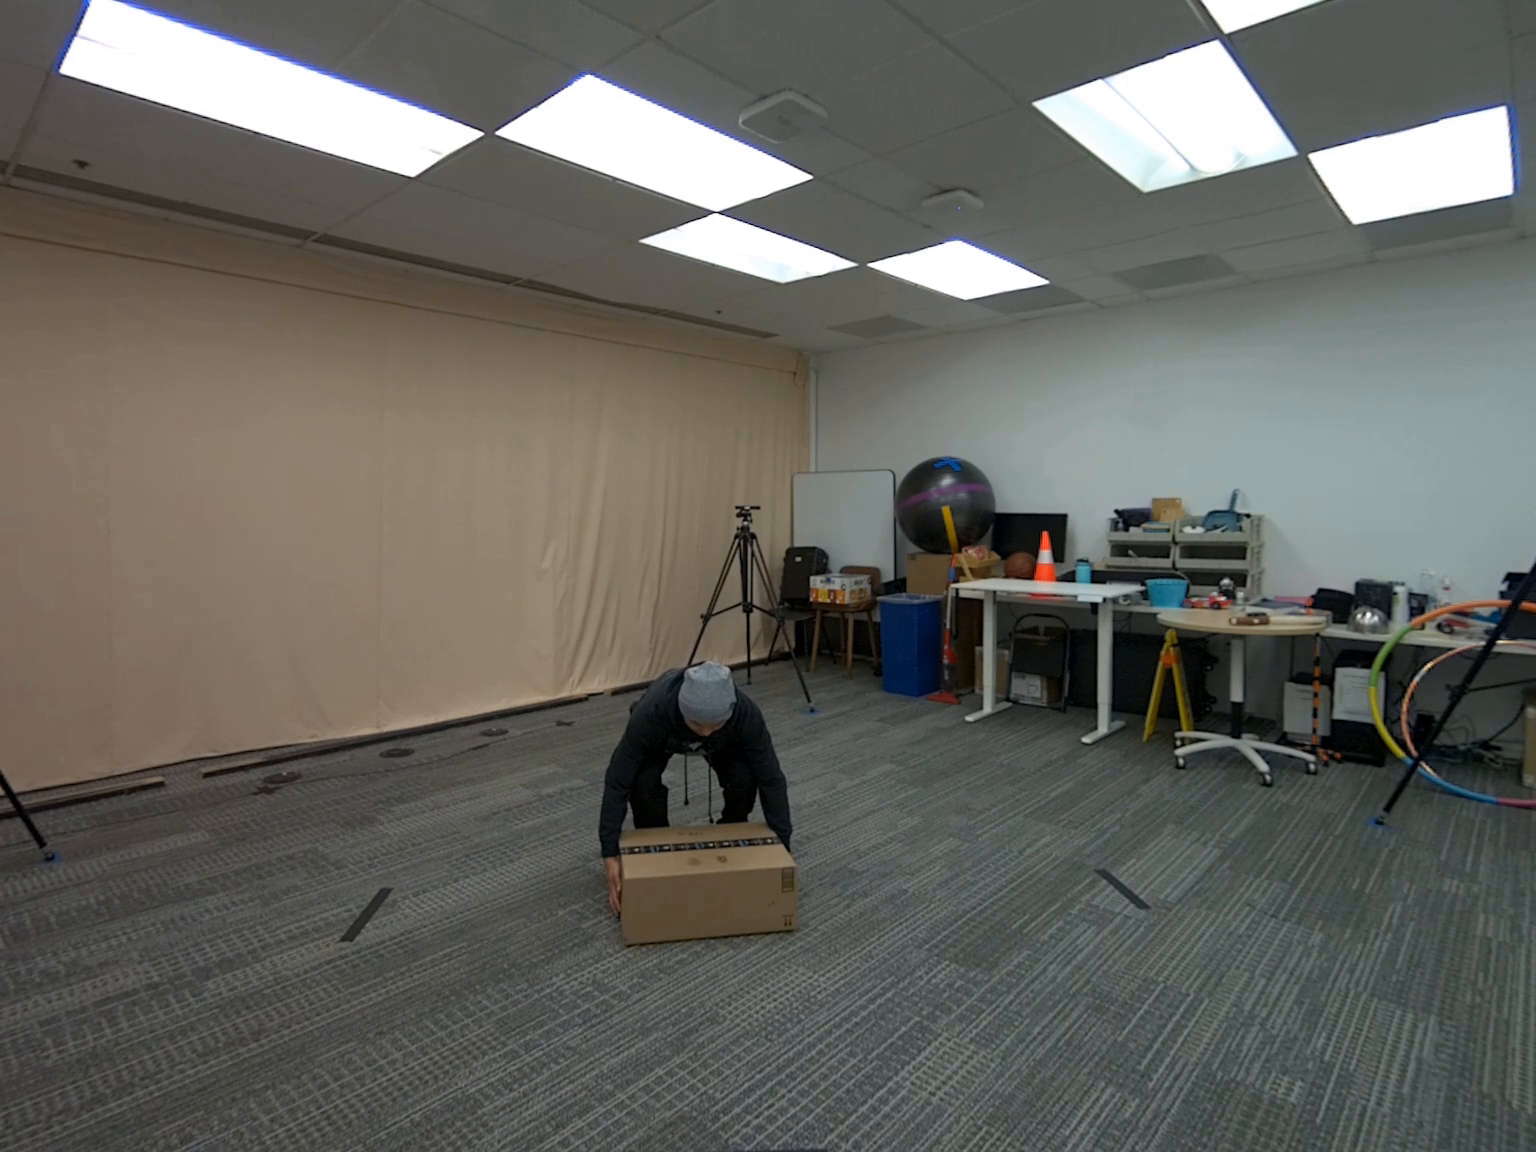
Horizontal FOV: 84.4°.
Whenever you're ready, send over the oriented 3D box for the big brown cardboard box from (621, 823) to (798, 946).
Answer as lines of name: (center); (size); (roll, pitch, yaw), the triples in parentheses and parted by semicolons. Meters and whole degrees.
big brown cardboard box: (-0.227, 1.041, 2.898); (0.583, 0.233, 0.423); (-2, 4, -10)
